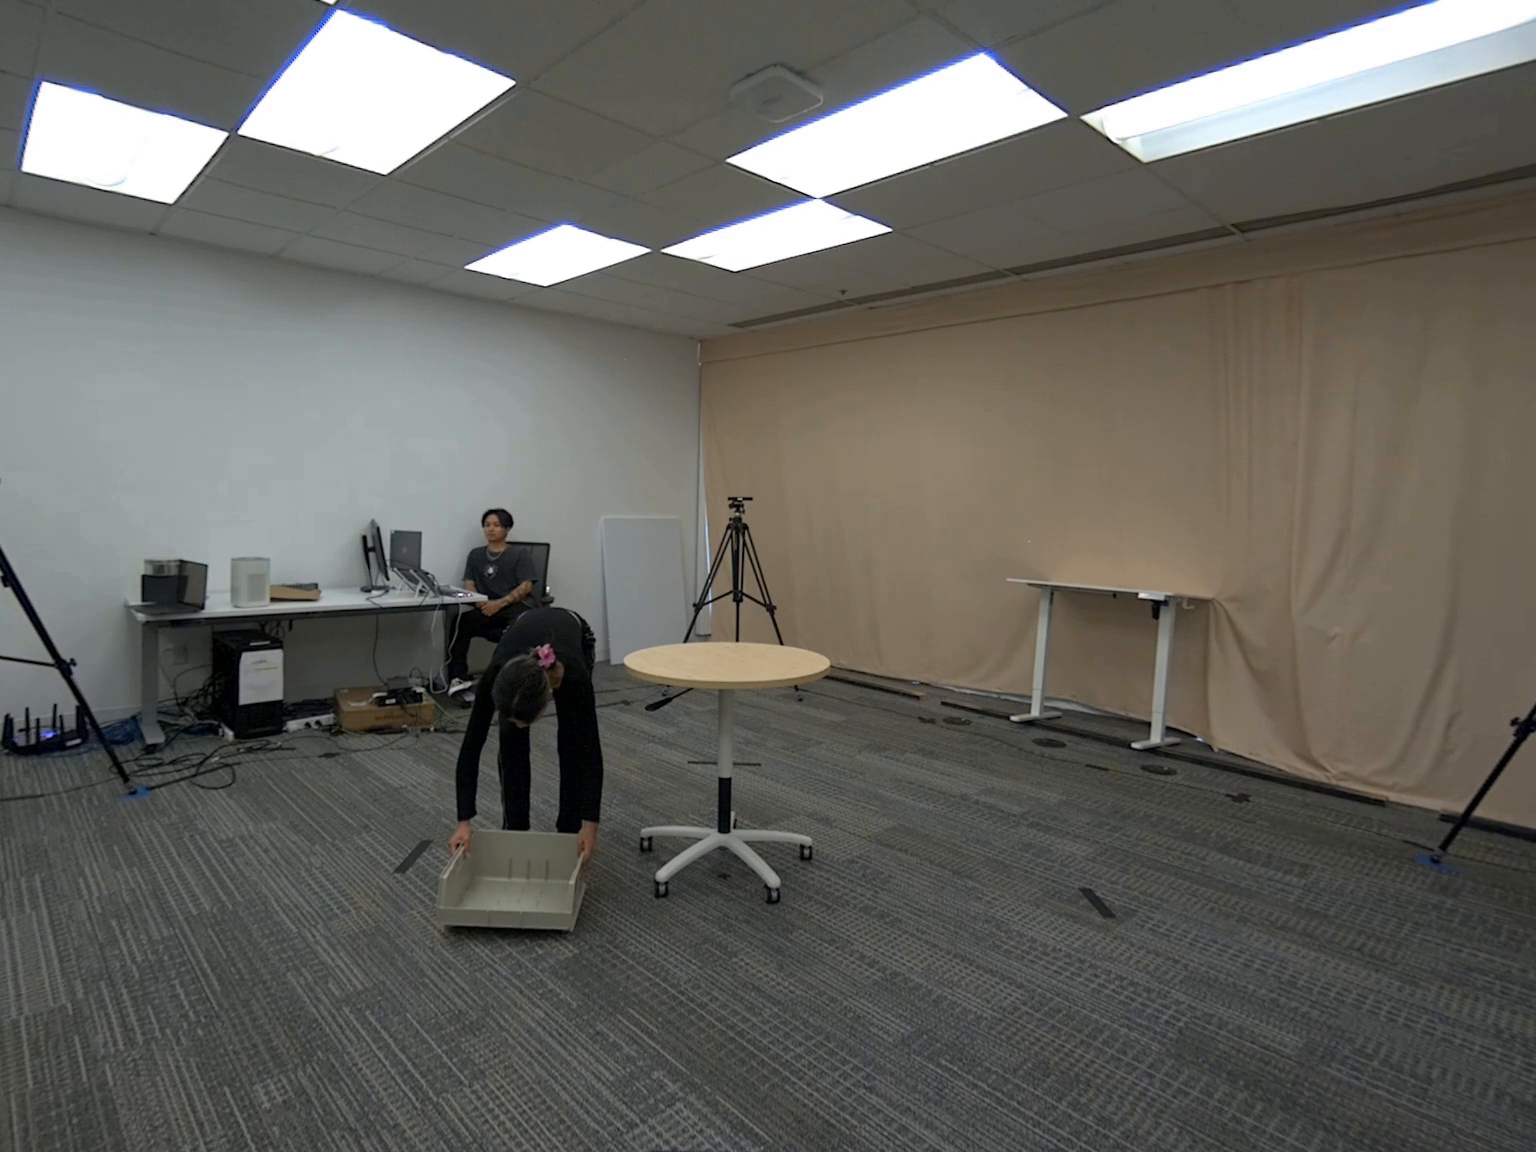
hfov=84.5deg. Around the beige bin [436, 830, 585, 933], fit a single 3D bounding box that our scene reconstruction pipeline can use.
[{"bbox_3d":[-0.837,1.018,2.781,0.421,0.188,0.379,3,5,-3],"label":"beige bin"}]
